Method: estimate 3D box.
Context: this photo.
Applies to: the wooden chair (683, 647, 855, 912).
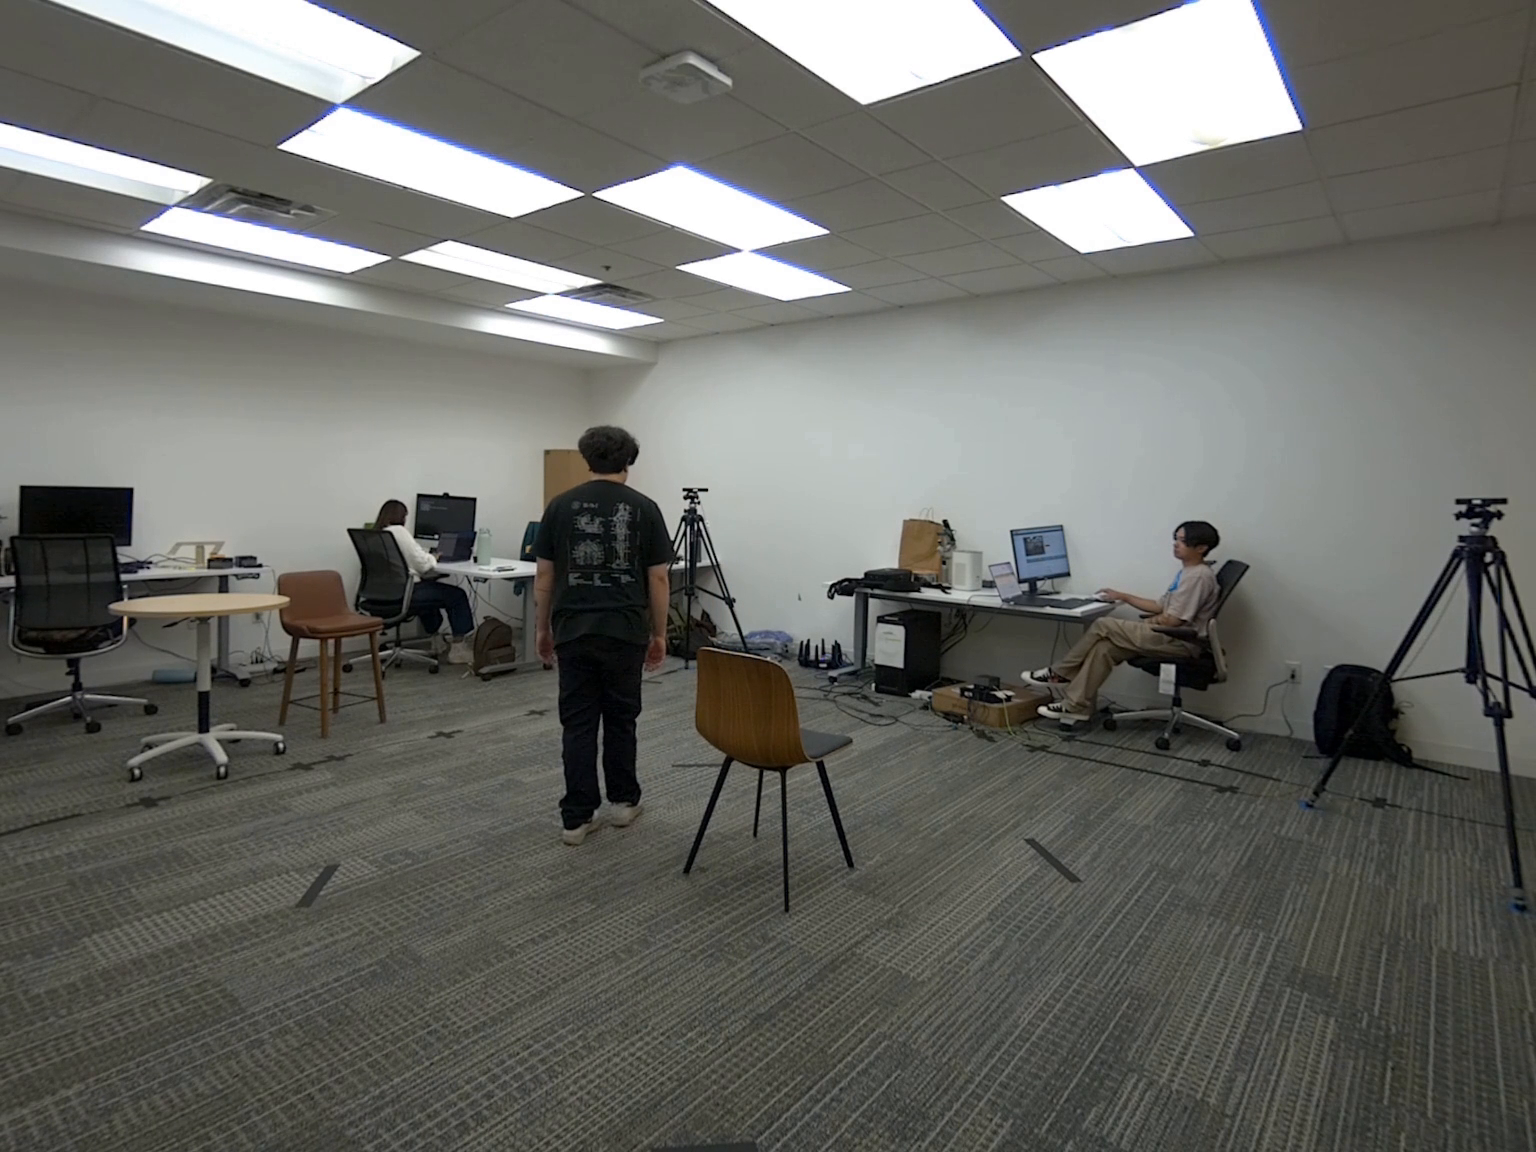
[{"bbox_3d":[0.008,0.647,3.089,0.493,0.872,0.510,3,8,36],"label":"wooden chair"}]
